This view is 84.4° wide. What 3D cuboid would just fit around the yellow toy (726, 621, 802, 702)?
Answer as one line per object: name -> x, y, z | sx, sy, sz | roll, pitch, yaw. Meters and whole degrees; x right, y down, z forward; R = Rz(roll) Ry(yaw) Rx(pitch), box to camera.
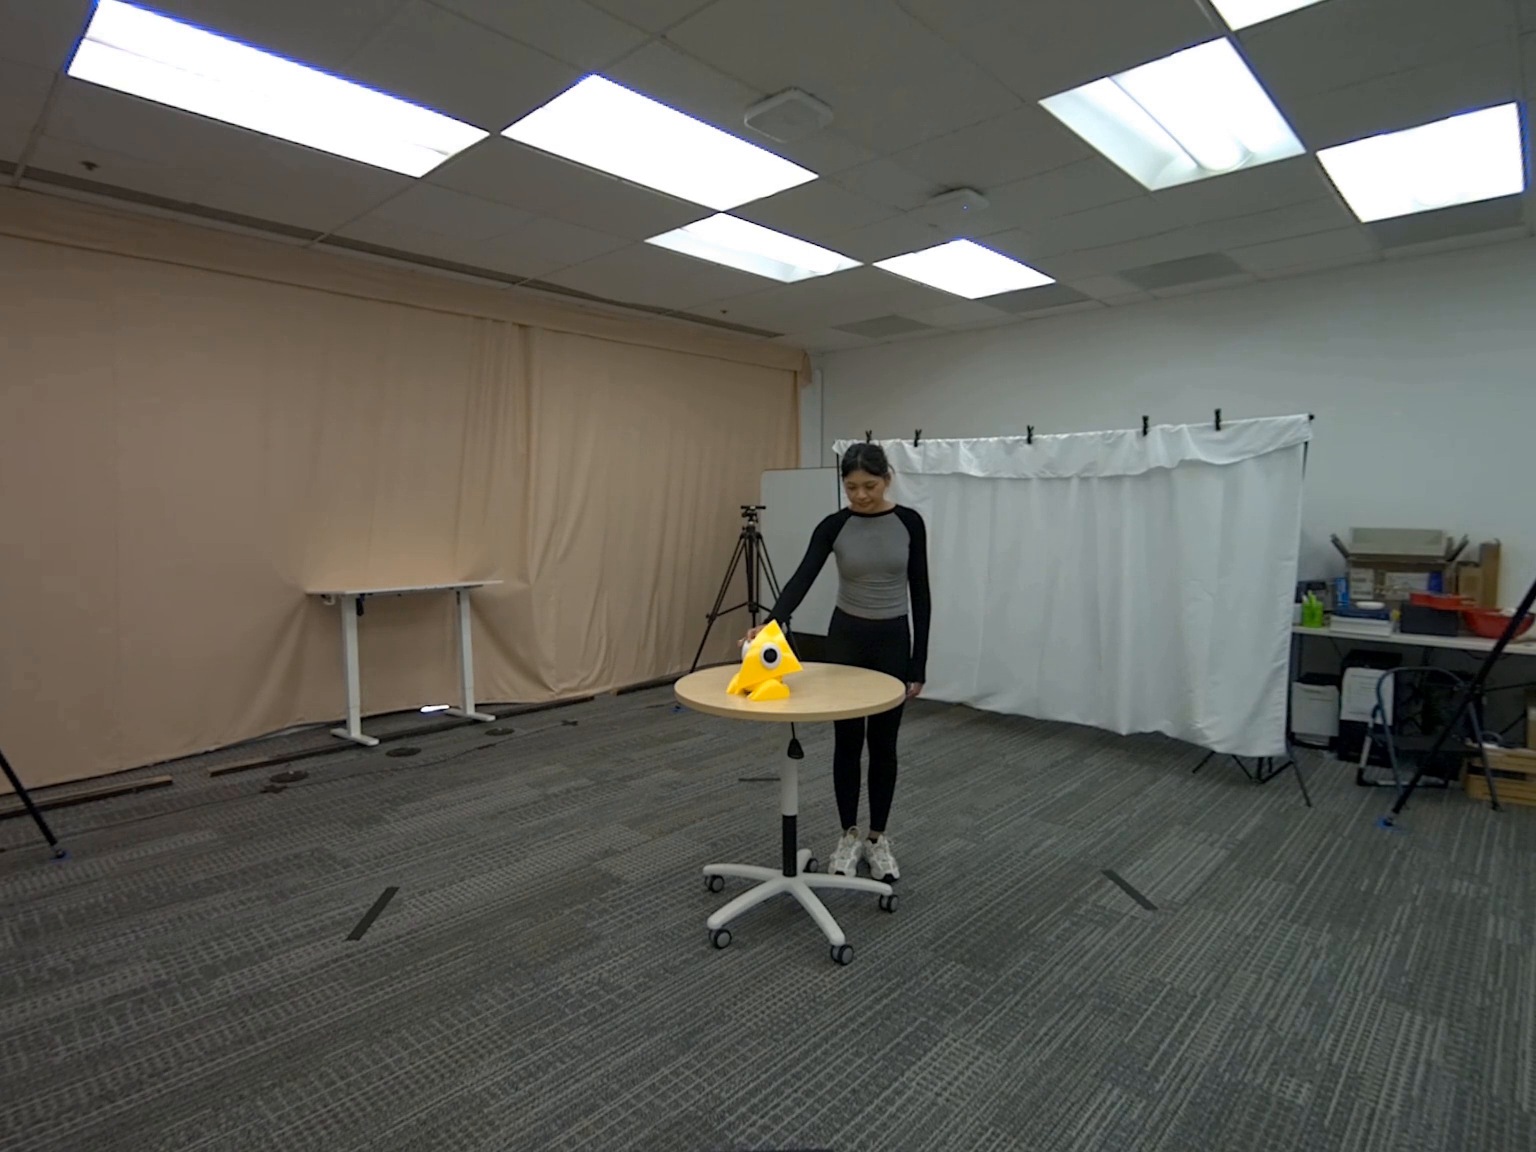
yellow toy -> -0.015, 0.264, 2.693 | 0.187, 0.230, 0.211 | -4, 6, -39
